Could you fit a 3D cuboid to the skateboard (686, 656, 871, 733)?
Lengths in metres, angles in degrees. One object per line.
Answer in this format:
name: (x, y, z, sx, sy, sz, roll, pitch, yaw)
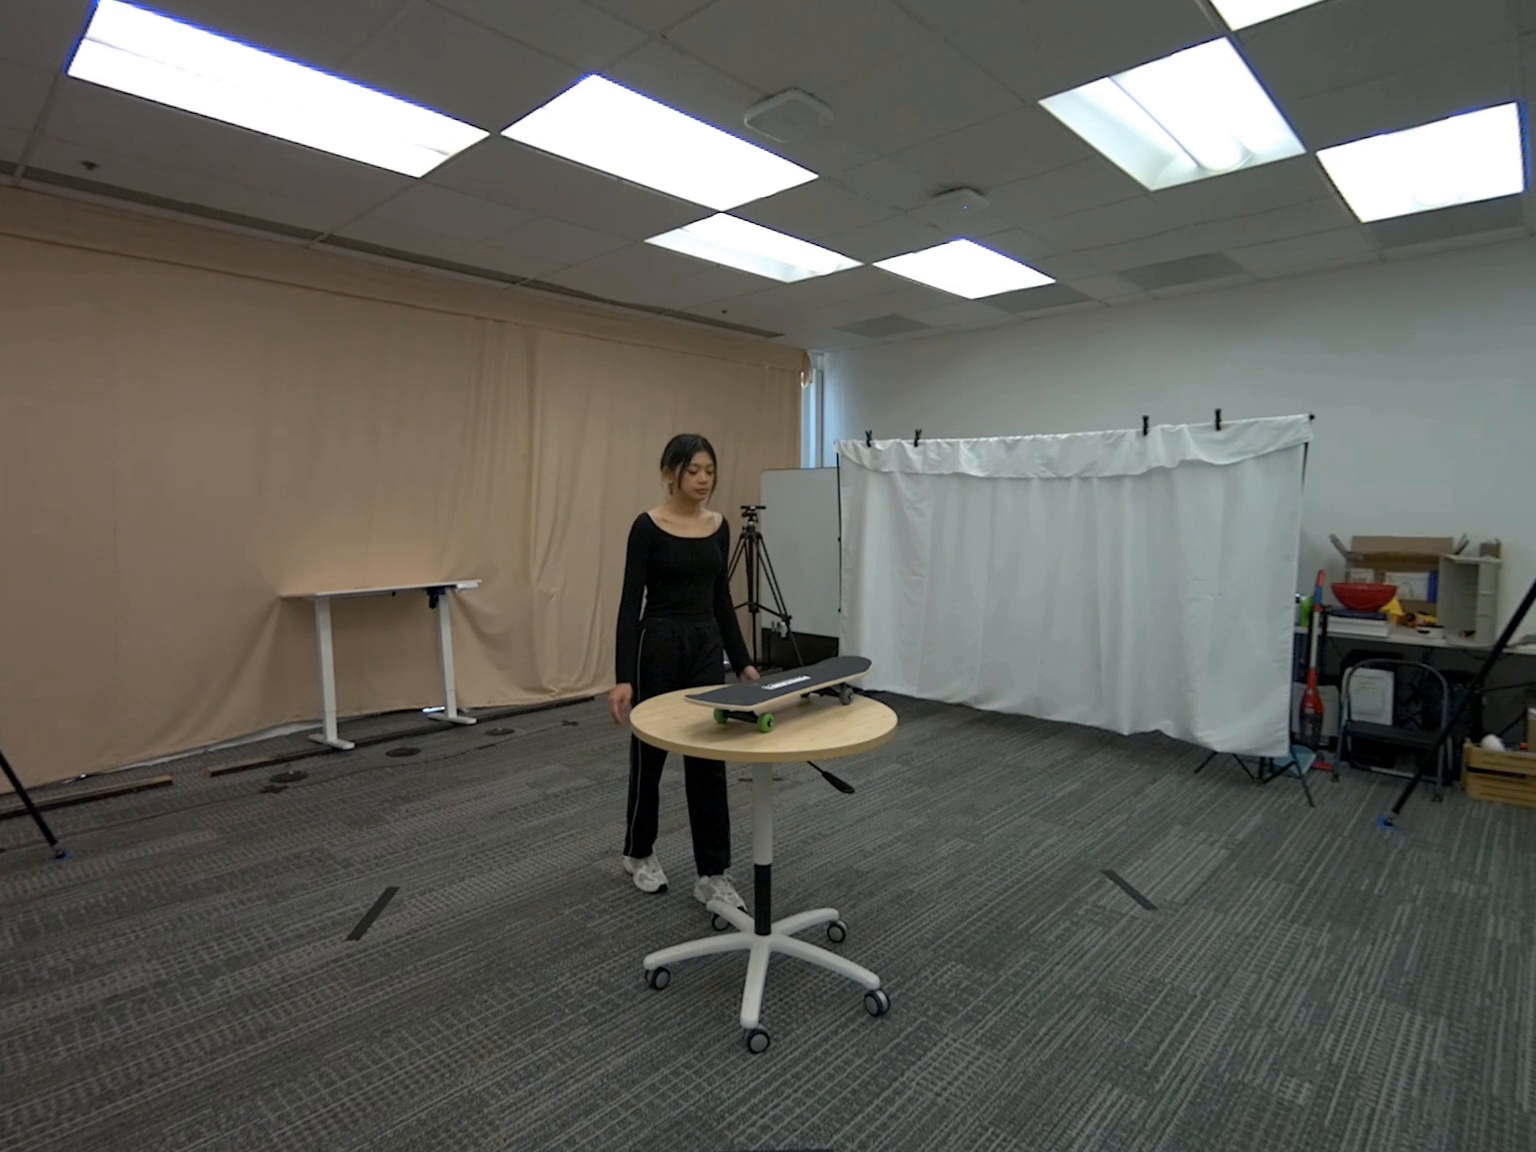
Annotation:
skateboard: (0.060, 0.351, 2.426, 0.200, 0.110, 0.762, 5, 7, 38)
